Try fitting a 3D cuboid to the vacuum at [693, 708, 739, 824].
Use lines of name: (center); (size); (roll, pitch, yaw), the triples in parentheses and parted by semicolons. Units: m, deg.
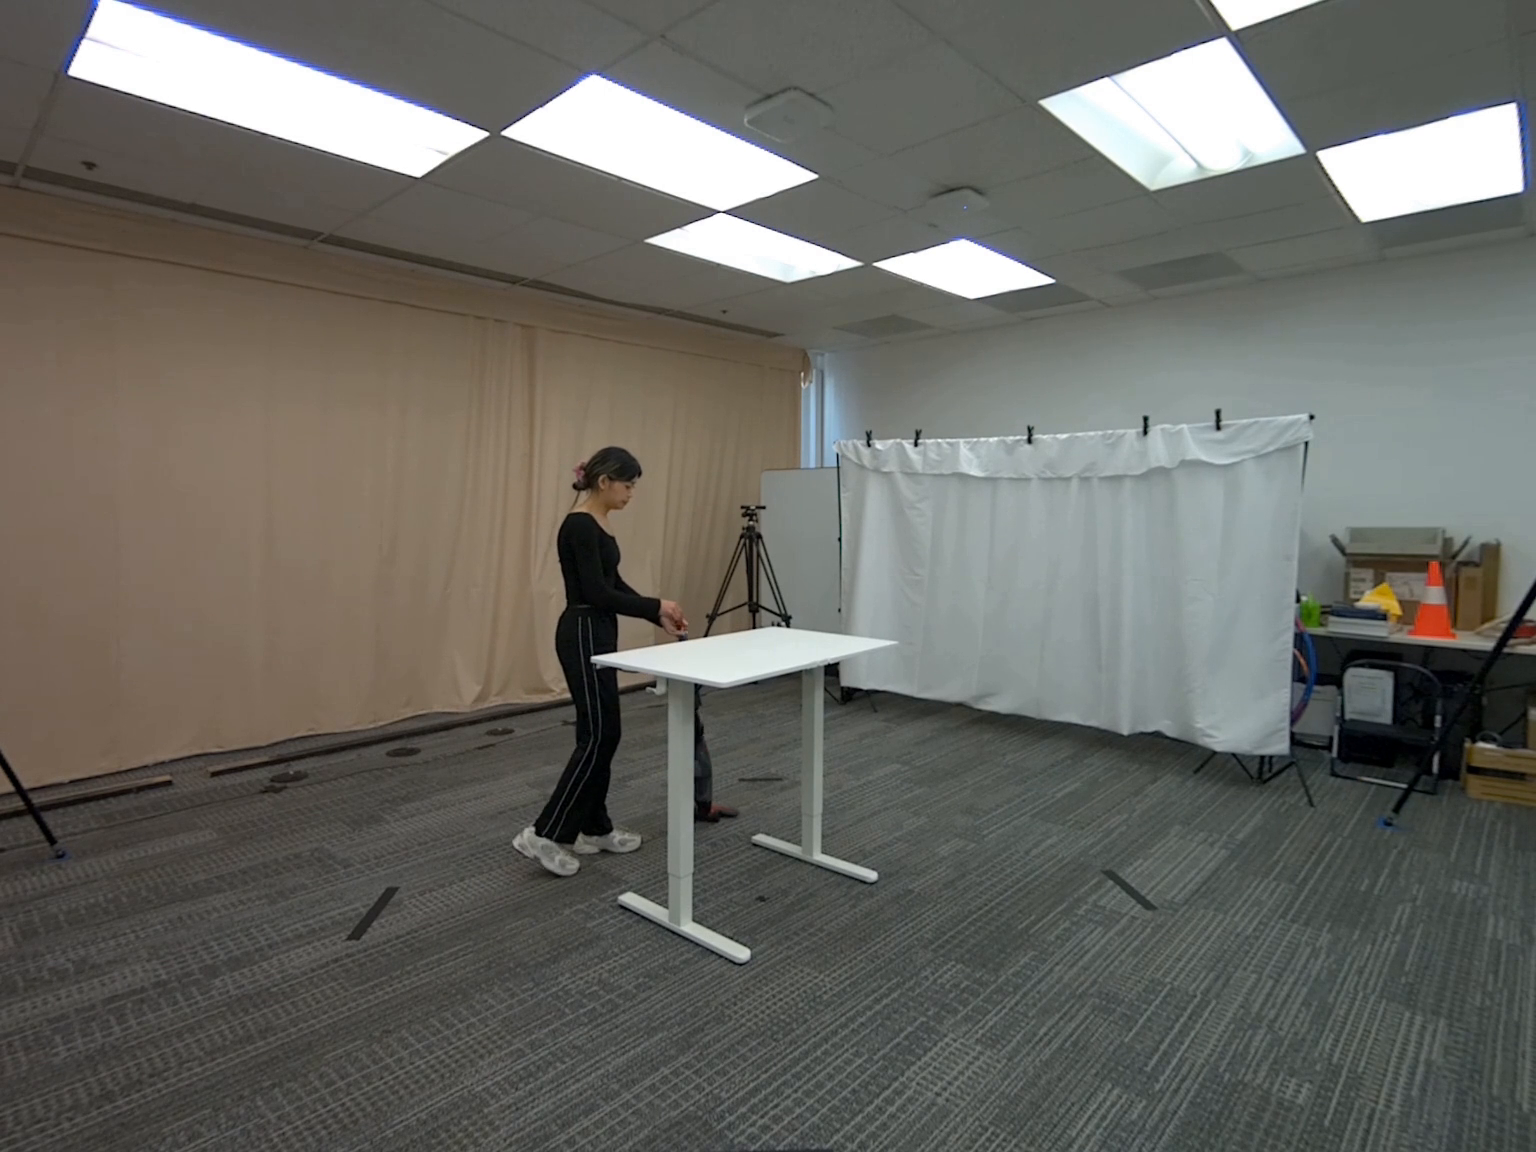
vacuum: (-0.318, 0.611, 3.577); (0.258, 1.032, 0.143); (2, 24, 20)
